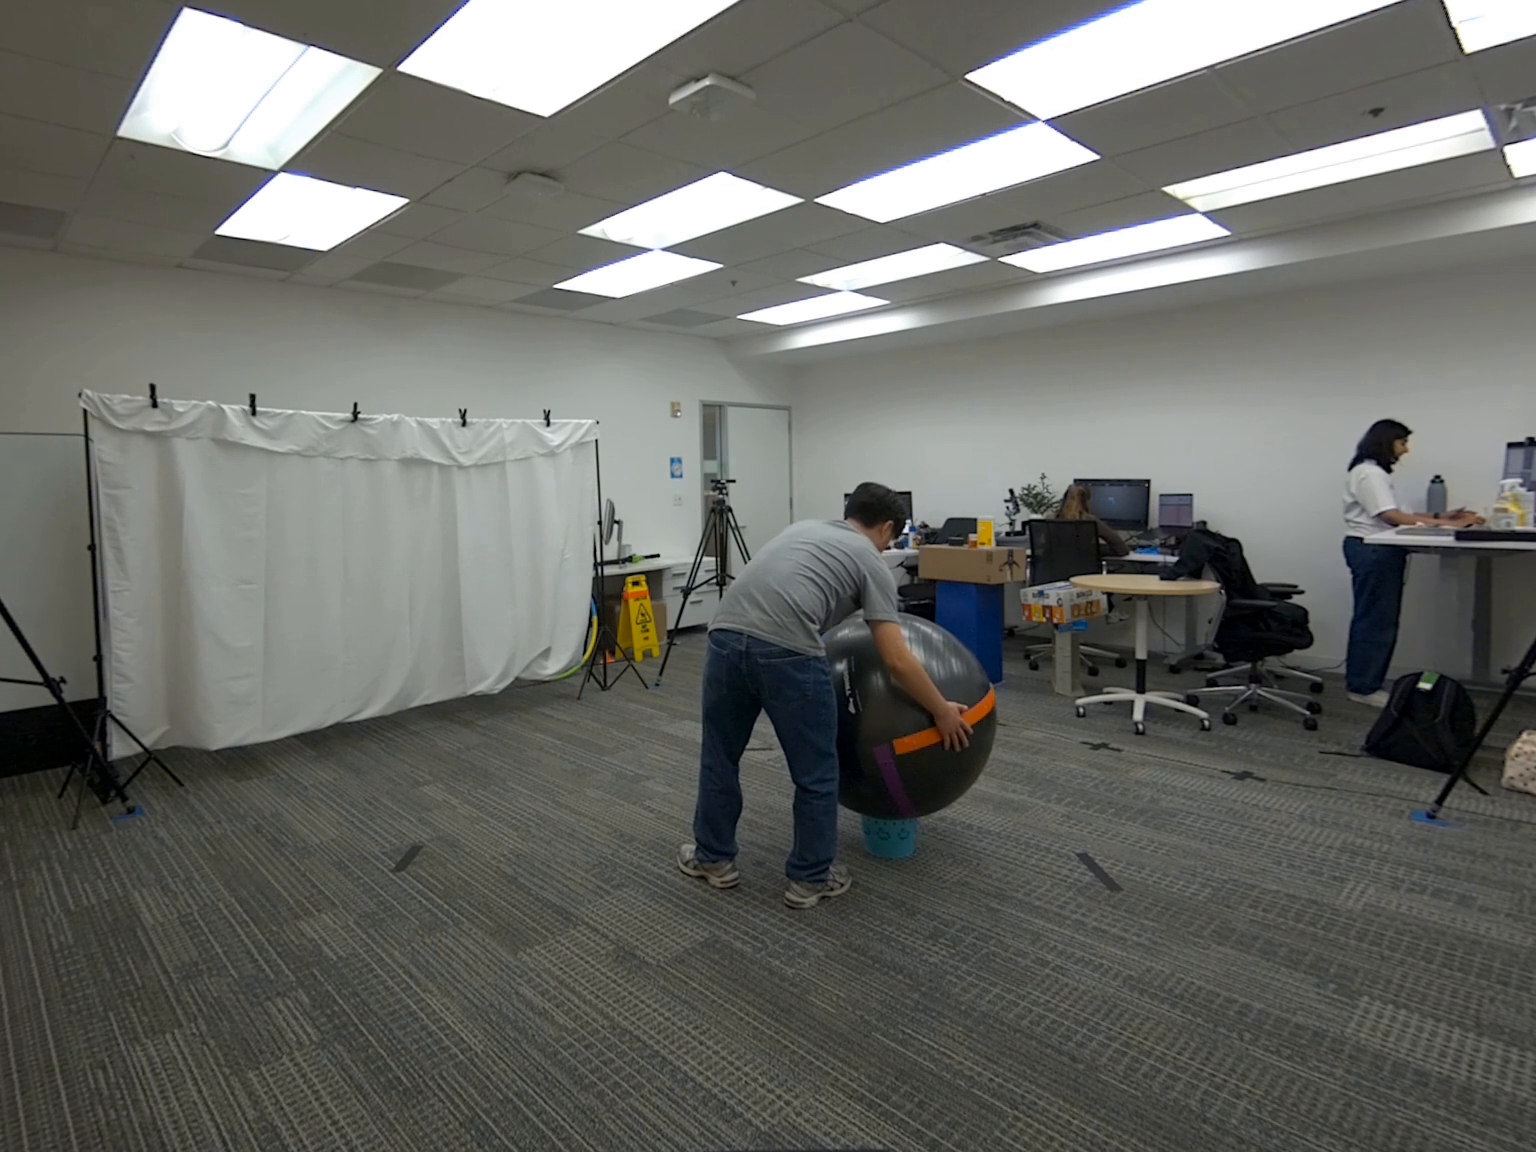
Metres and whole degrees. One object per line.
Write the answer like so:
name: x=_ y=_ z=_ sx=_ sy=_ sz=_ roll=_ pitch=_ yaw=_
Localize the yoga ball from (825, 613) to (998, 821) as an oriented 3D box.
yoga ball: x=0.459 y=0.520 z=3.199 sx=0.757 sy=0.755 sz=0.762 roll=-1 pitch=5 yaw=-2
